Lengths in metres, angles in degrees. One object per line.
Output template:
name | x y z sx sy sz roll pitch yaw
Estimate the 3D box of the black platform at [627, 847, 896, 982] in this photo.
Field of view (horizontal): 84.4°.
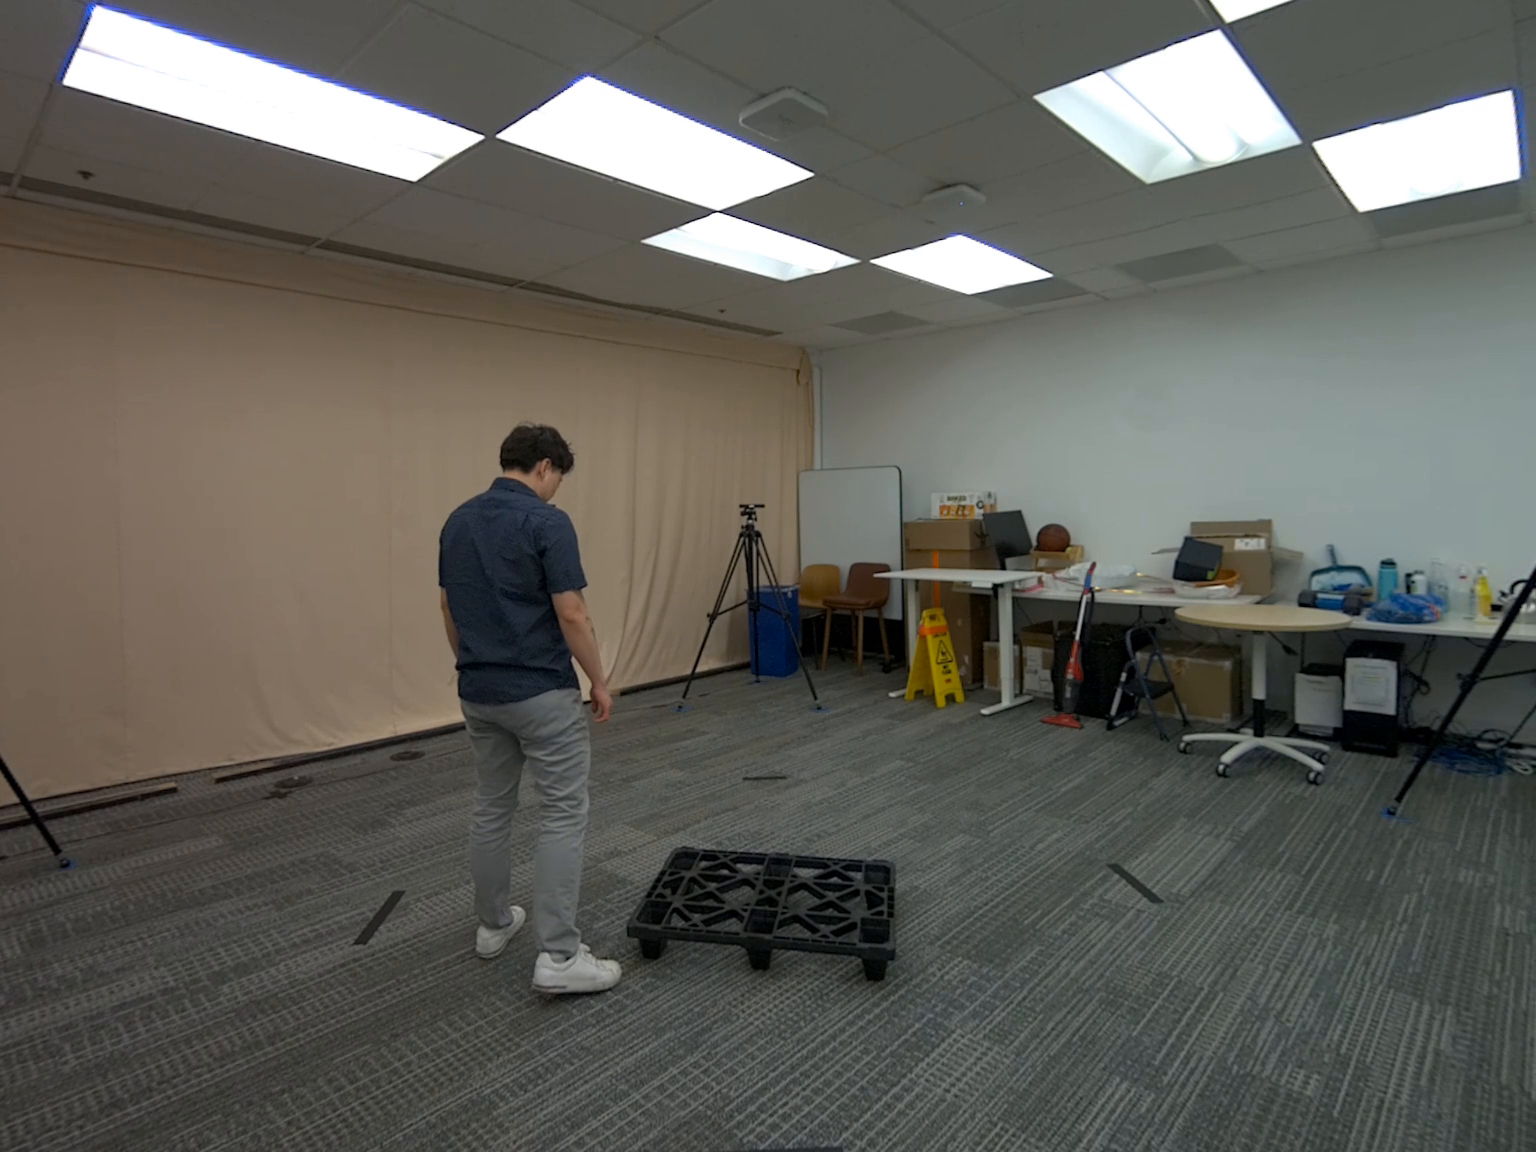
black platform | 0.010 1.090 2.751 0.815 0.143 0.599 0 4 10
